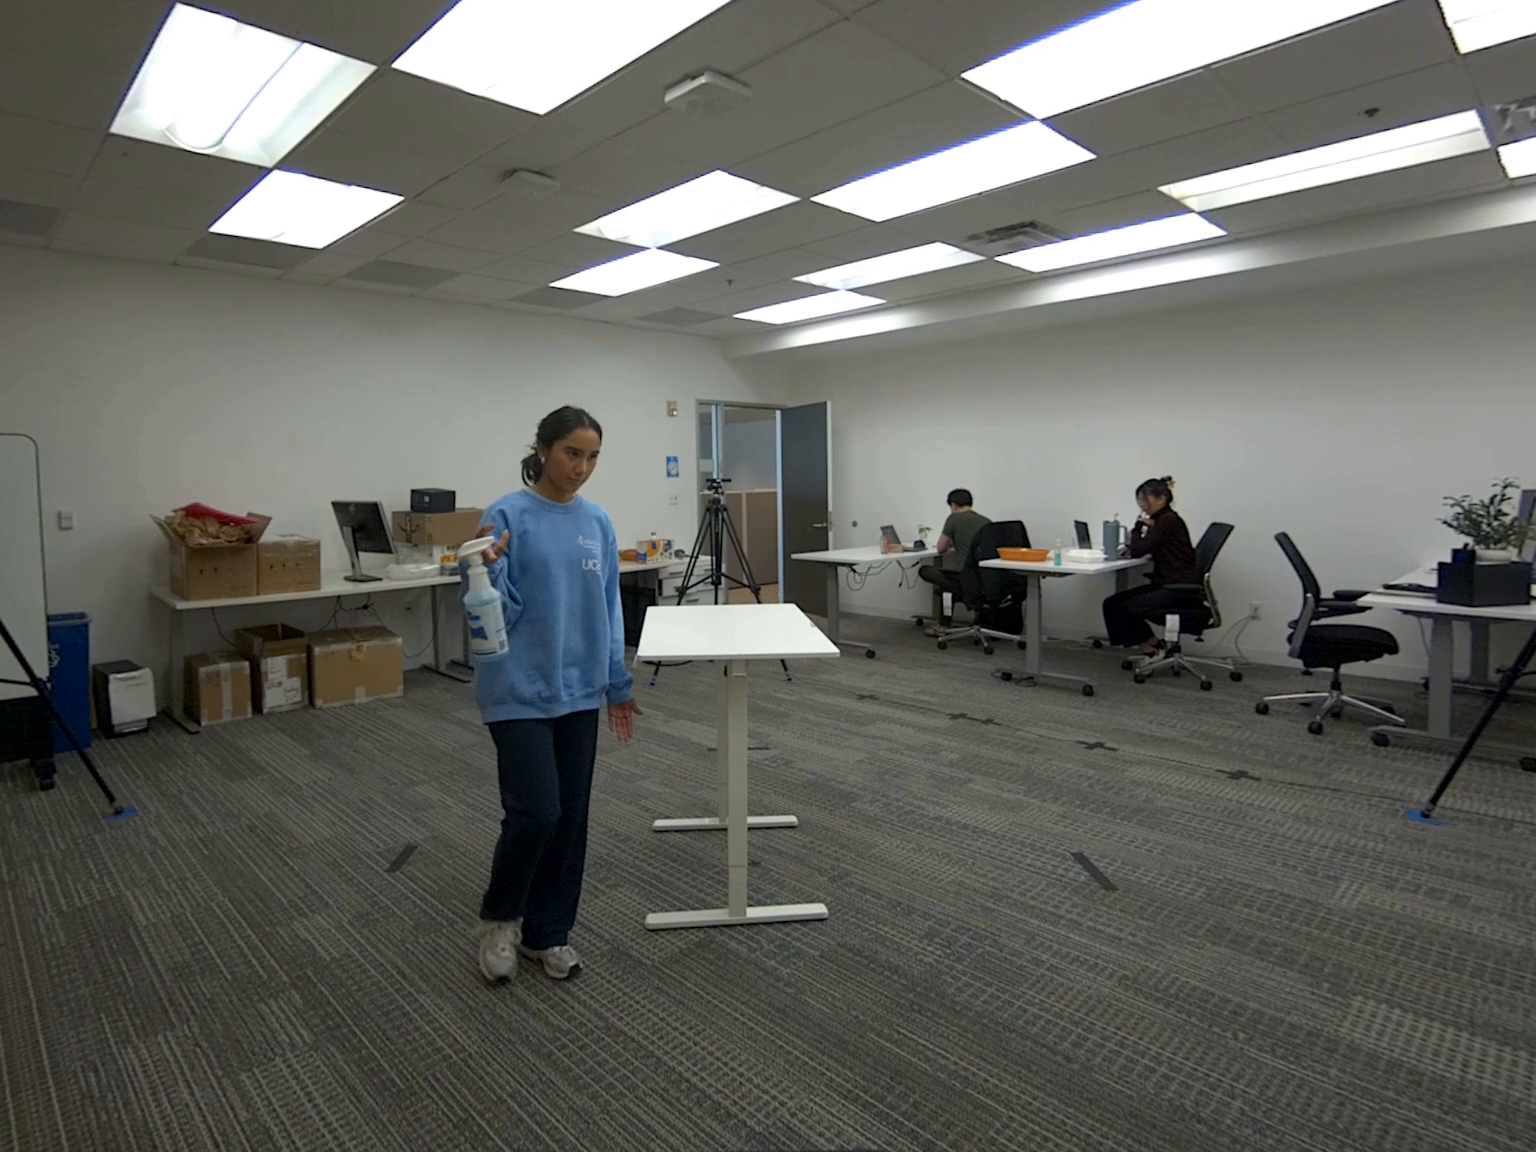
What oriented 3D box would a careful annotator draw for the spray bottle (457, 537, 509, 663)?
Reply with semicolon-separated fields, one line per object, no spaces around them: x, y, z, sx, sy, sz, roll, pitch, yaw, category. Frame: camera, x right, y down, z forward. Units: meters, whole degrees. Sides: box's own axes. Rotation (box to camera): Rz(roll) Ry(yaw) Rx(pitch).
-0.696;0.069;2.070;0.090;0.293;0.088;-5;13;-1;spray bottle
